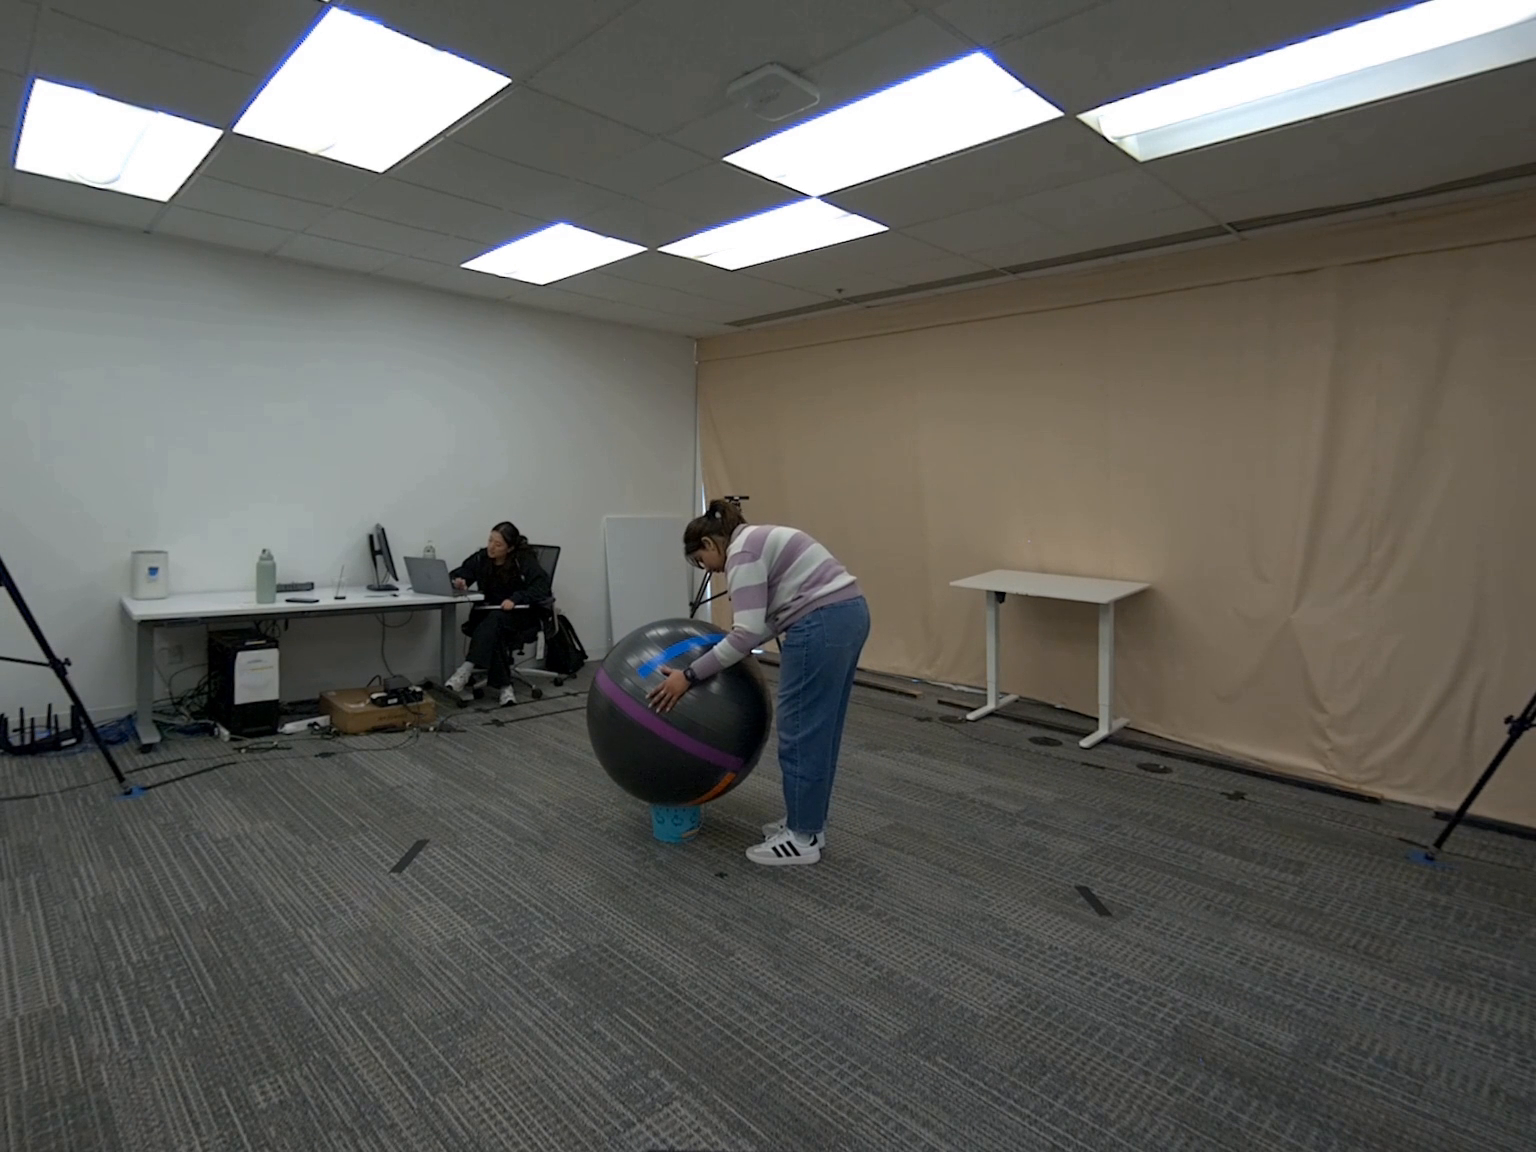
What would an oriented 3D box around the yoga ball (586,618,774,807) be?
[{"bbox_3d":[-0.370,0.559,3.474,0.757,0.756,0.761,1,4,-1],"label":"yoga ball"}]
